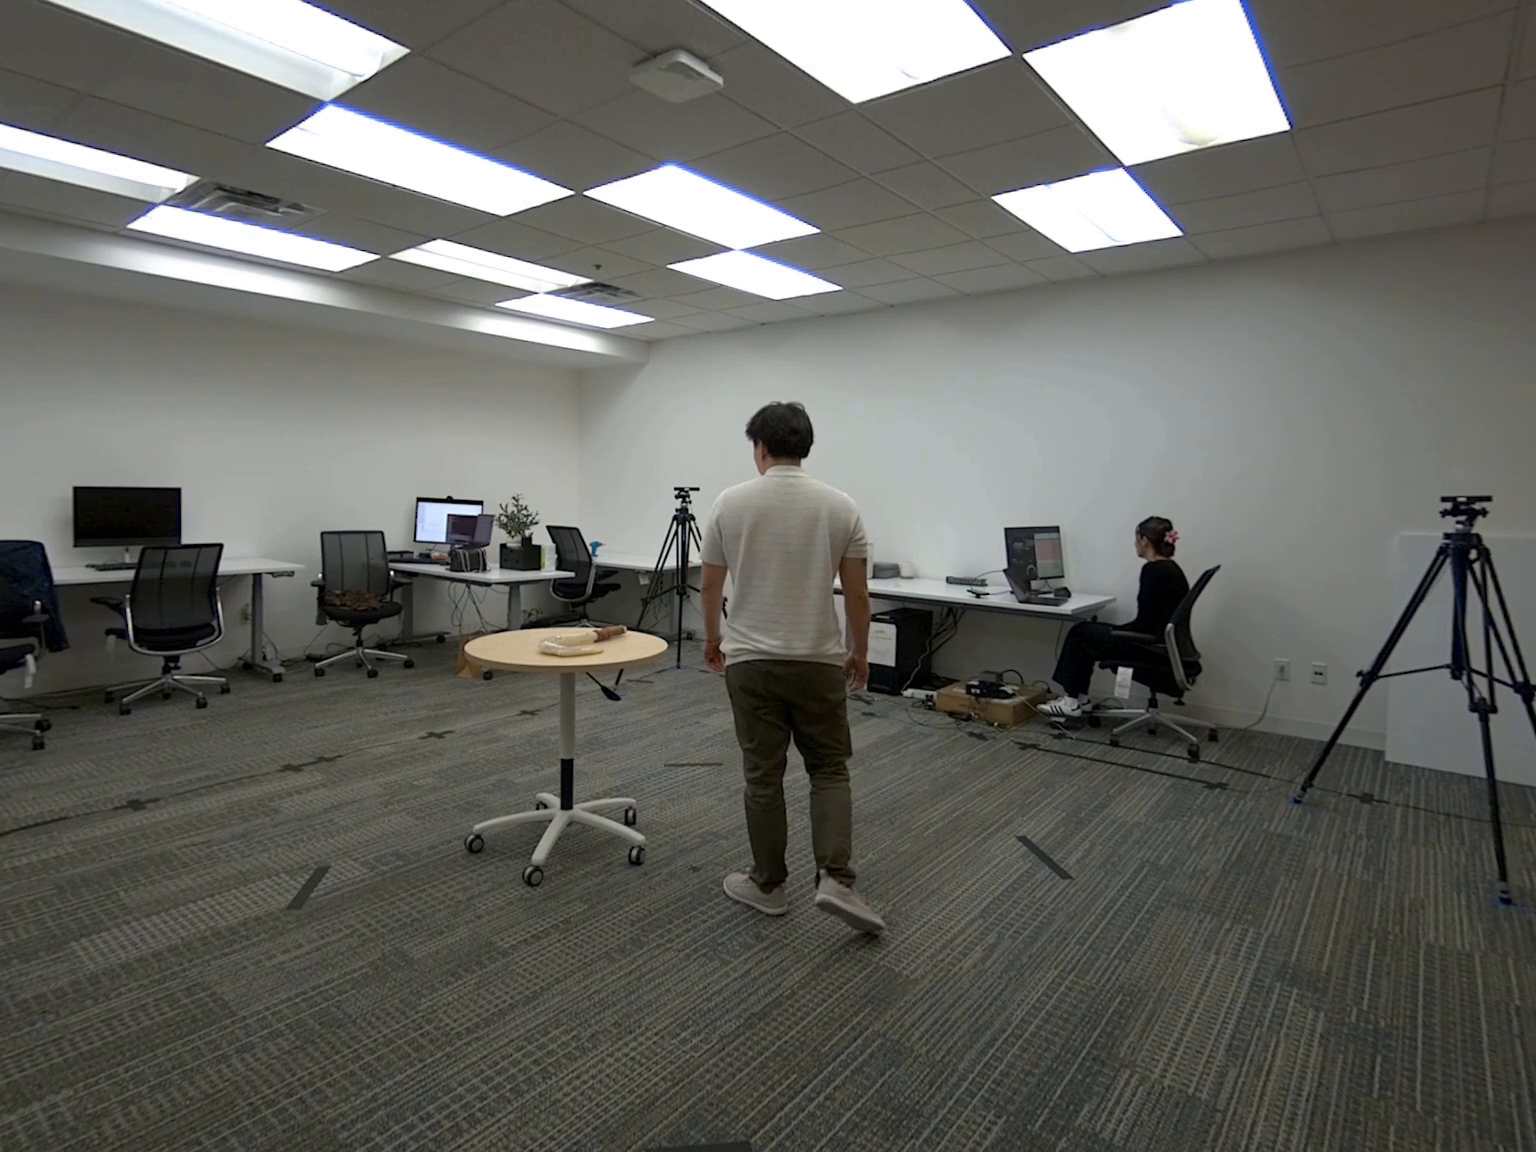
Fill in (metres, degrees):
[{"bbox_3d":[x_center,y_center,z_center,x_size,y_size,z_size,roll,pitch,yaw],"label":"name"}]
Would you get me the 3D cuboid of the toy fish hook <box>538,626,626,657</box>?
[{"bbox_3d":[-0.678,0.251,3.264,0.232,0.048,0.495,13,12,27],"label":"toy fish hook"}]
